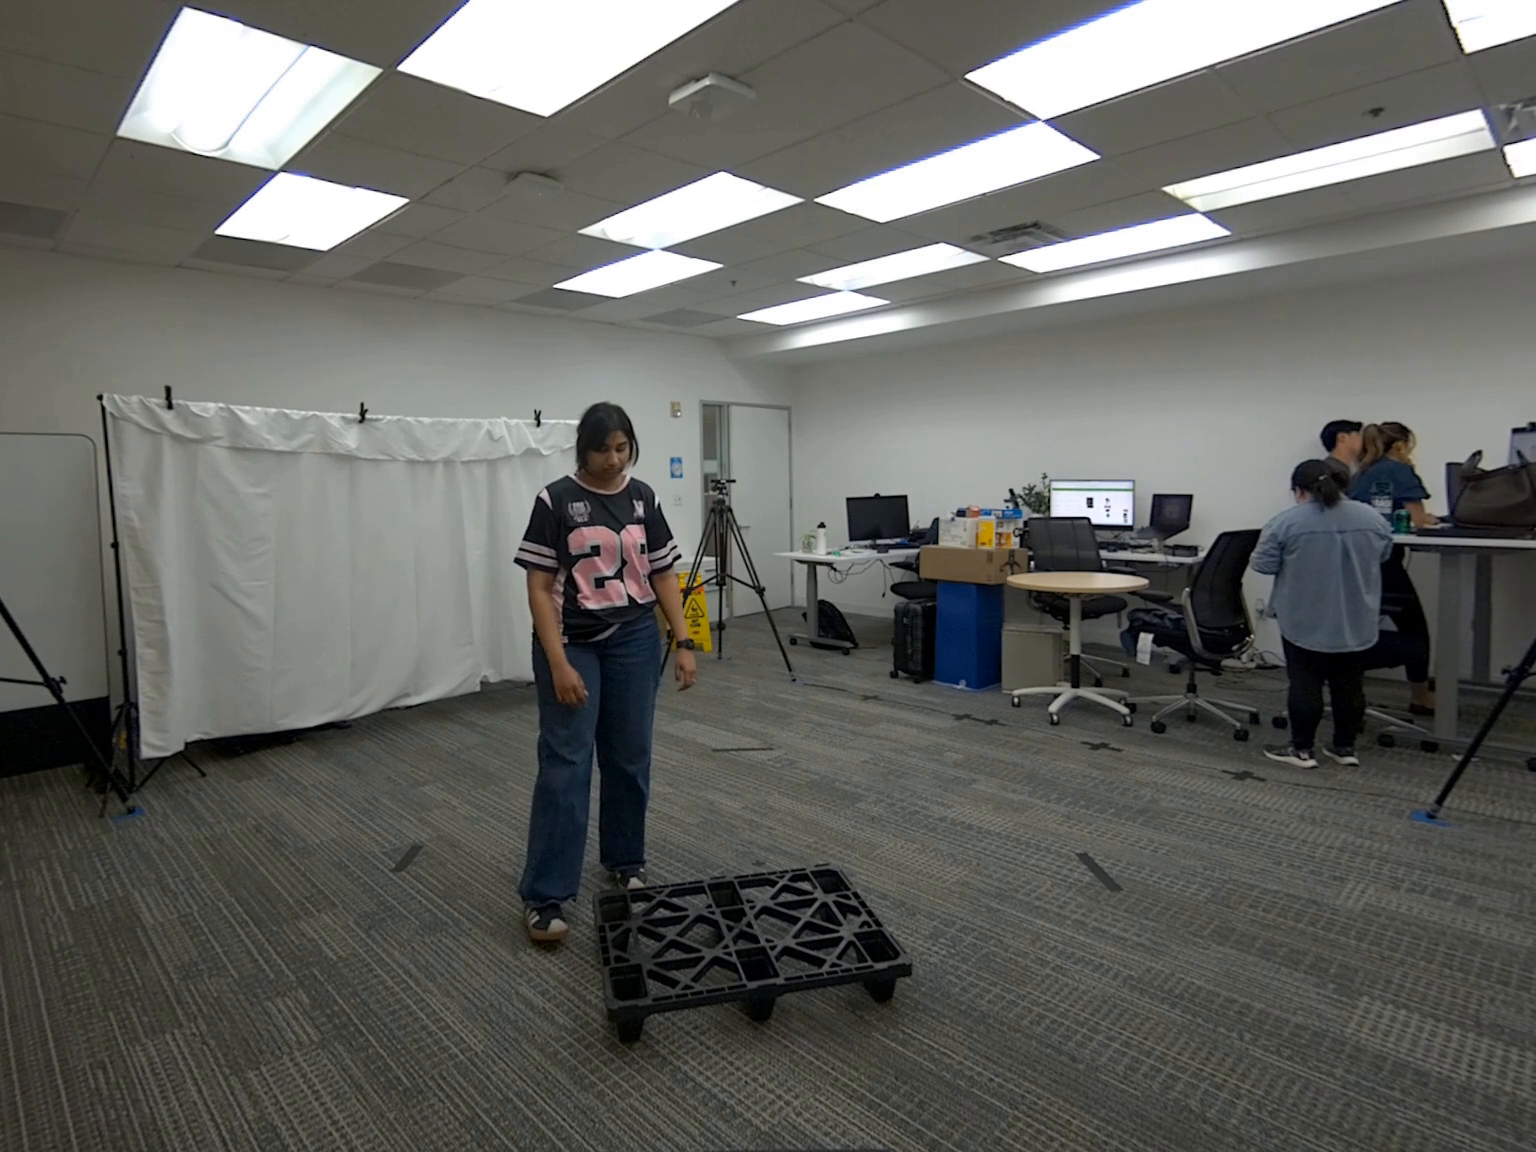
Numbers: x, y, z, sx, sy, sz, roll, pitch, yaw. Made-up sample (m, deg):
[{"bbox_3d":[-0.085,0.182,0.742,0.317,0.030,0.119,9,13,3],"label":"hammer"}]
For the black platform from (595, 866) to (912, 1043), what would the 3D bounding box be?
[{"bbox_3d":[-0.080,1.061,2.434,0.796,0.143,0.615,-3,6,-13],"label":"black platform"}]
